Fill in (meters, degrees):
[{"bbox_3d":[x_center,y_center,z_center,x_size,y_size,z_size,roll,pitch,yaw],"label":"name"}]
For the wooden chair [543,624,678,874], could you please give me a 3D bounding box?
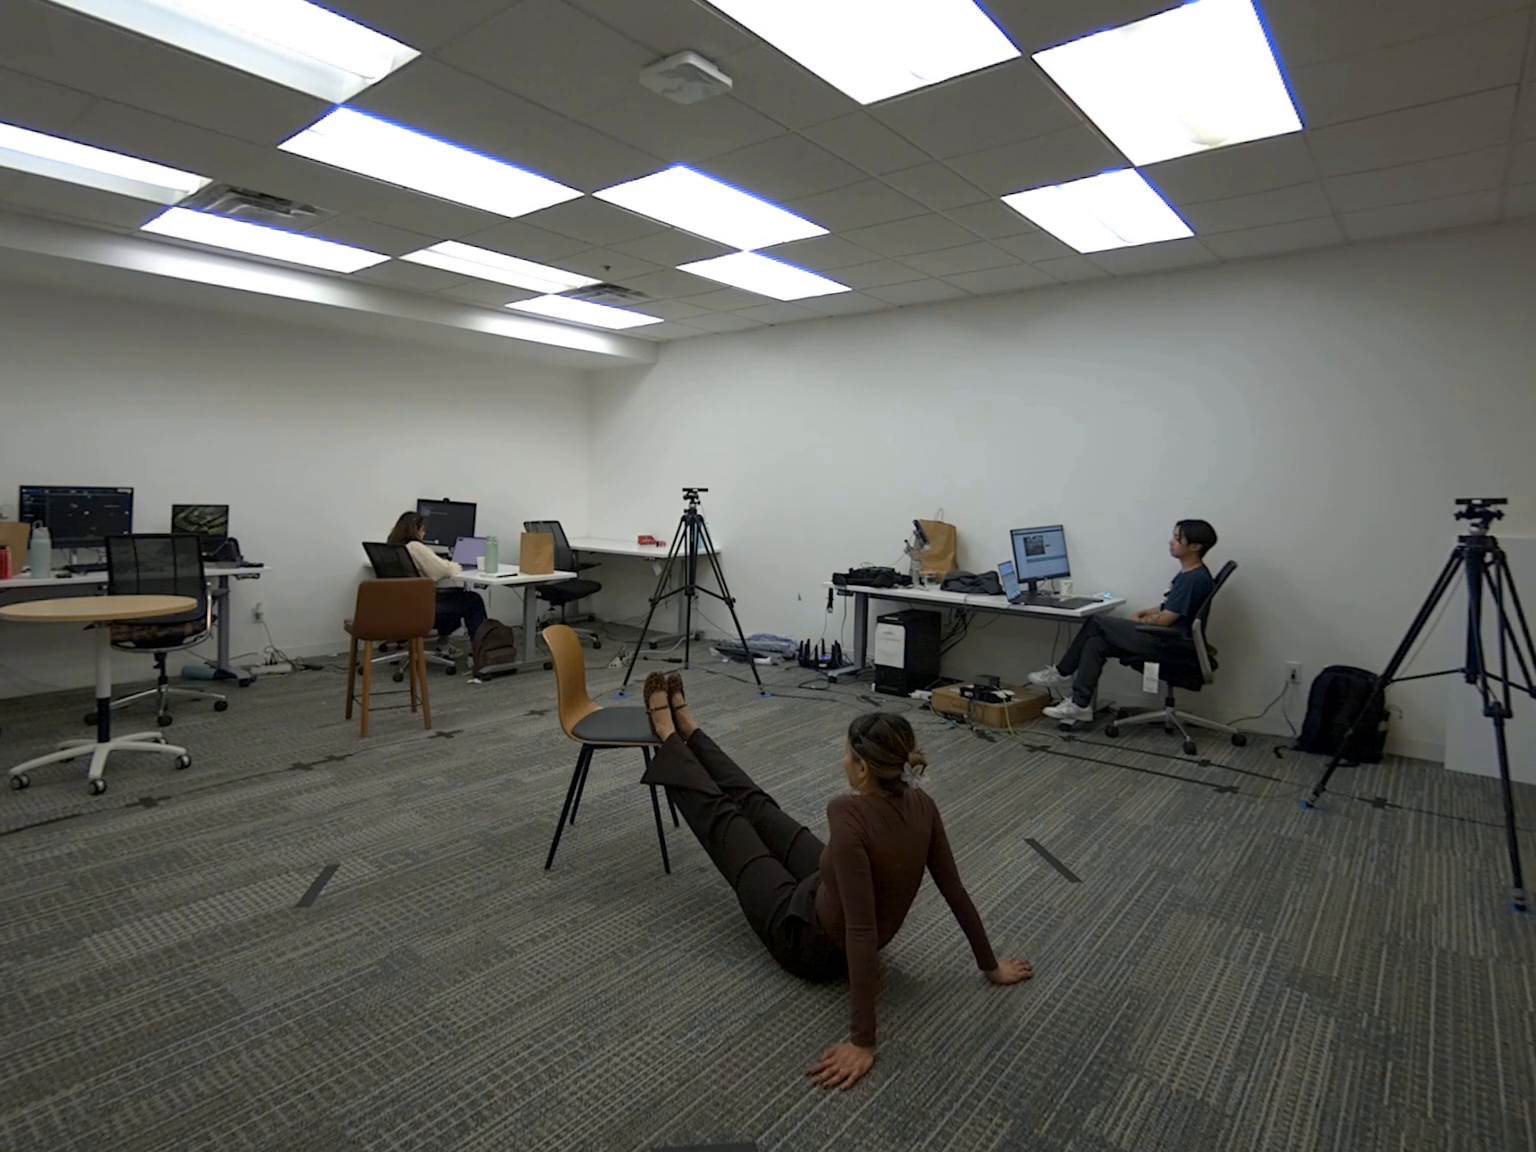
[{"bbox_3d":[-0.585,0.621,3.268,0.524,0.875,0.479,-3,3,1],"label":"wooden chair"}]
